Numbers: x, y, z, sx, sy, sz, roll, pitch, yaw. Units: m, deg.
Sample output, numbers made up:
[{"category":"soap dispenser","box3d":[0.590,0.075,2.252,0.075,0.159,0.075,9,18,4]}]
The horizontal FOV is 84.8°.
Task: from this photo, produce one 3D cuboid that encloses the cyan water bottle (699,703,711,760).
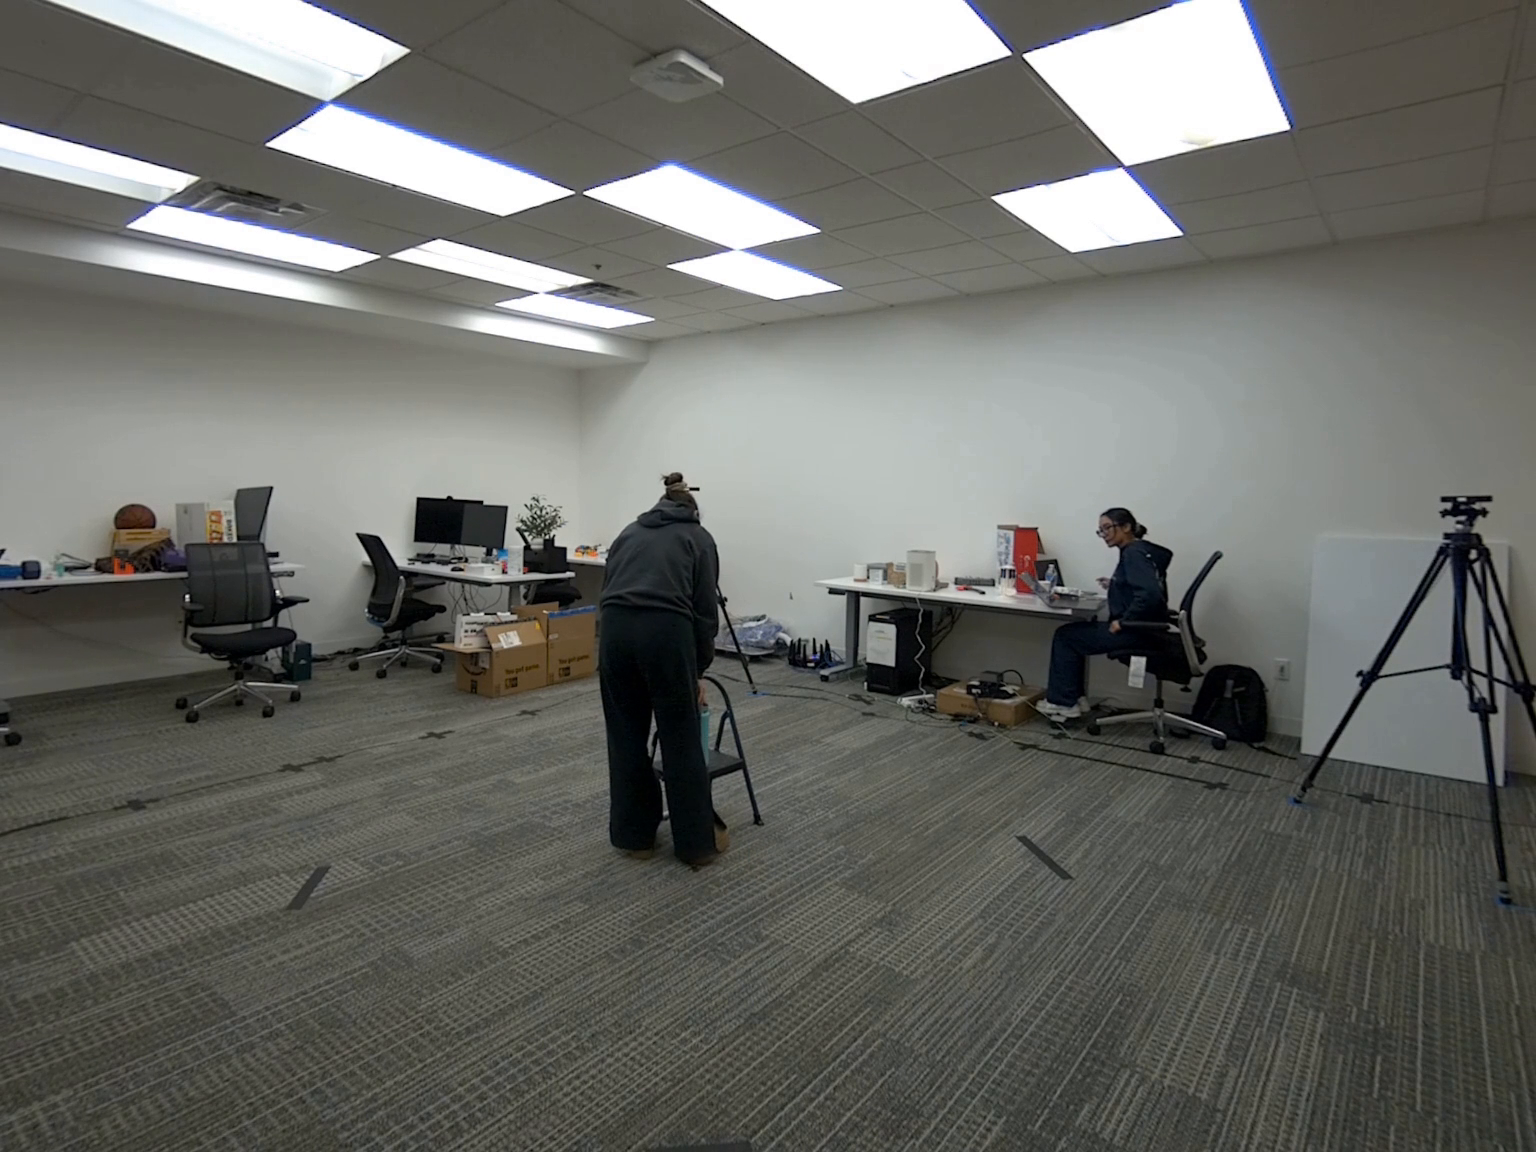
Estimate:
[{"category":"cyan water bottle","box3d":[-0.285,0.634,3.446,0.092,0.282,0.093,5,5,-2]}]
